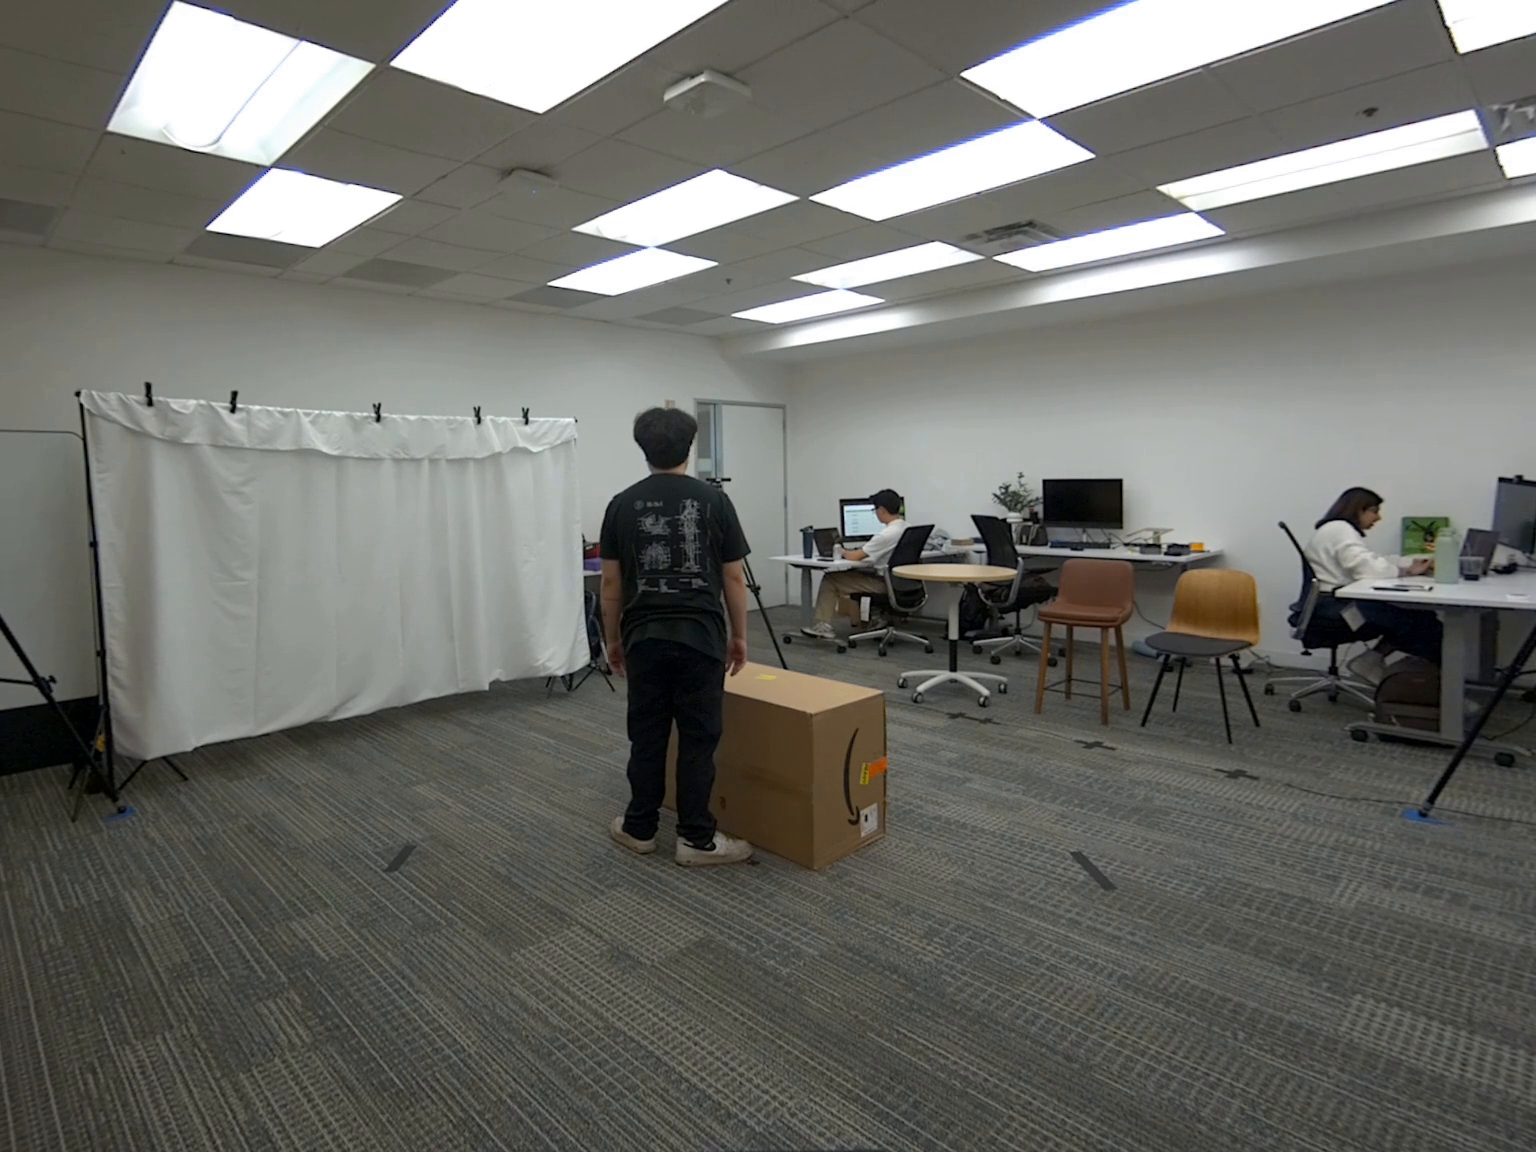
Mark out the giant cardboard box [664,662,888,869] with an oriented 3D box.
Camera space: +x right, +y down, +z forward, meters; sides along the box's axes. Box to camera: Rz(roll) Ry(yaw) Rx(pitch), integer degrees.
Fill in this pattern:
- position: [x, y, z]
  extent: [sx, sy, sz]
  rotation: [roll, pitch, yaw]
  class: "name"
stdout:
- position: [-0.054, 0.708, 3.532]
  extent: [0.435, 0.582, 1.059]
  rotation: [-4, 7, -44]
  class: "giant cardboard box"
